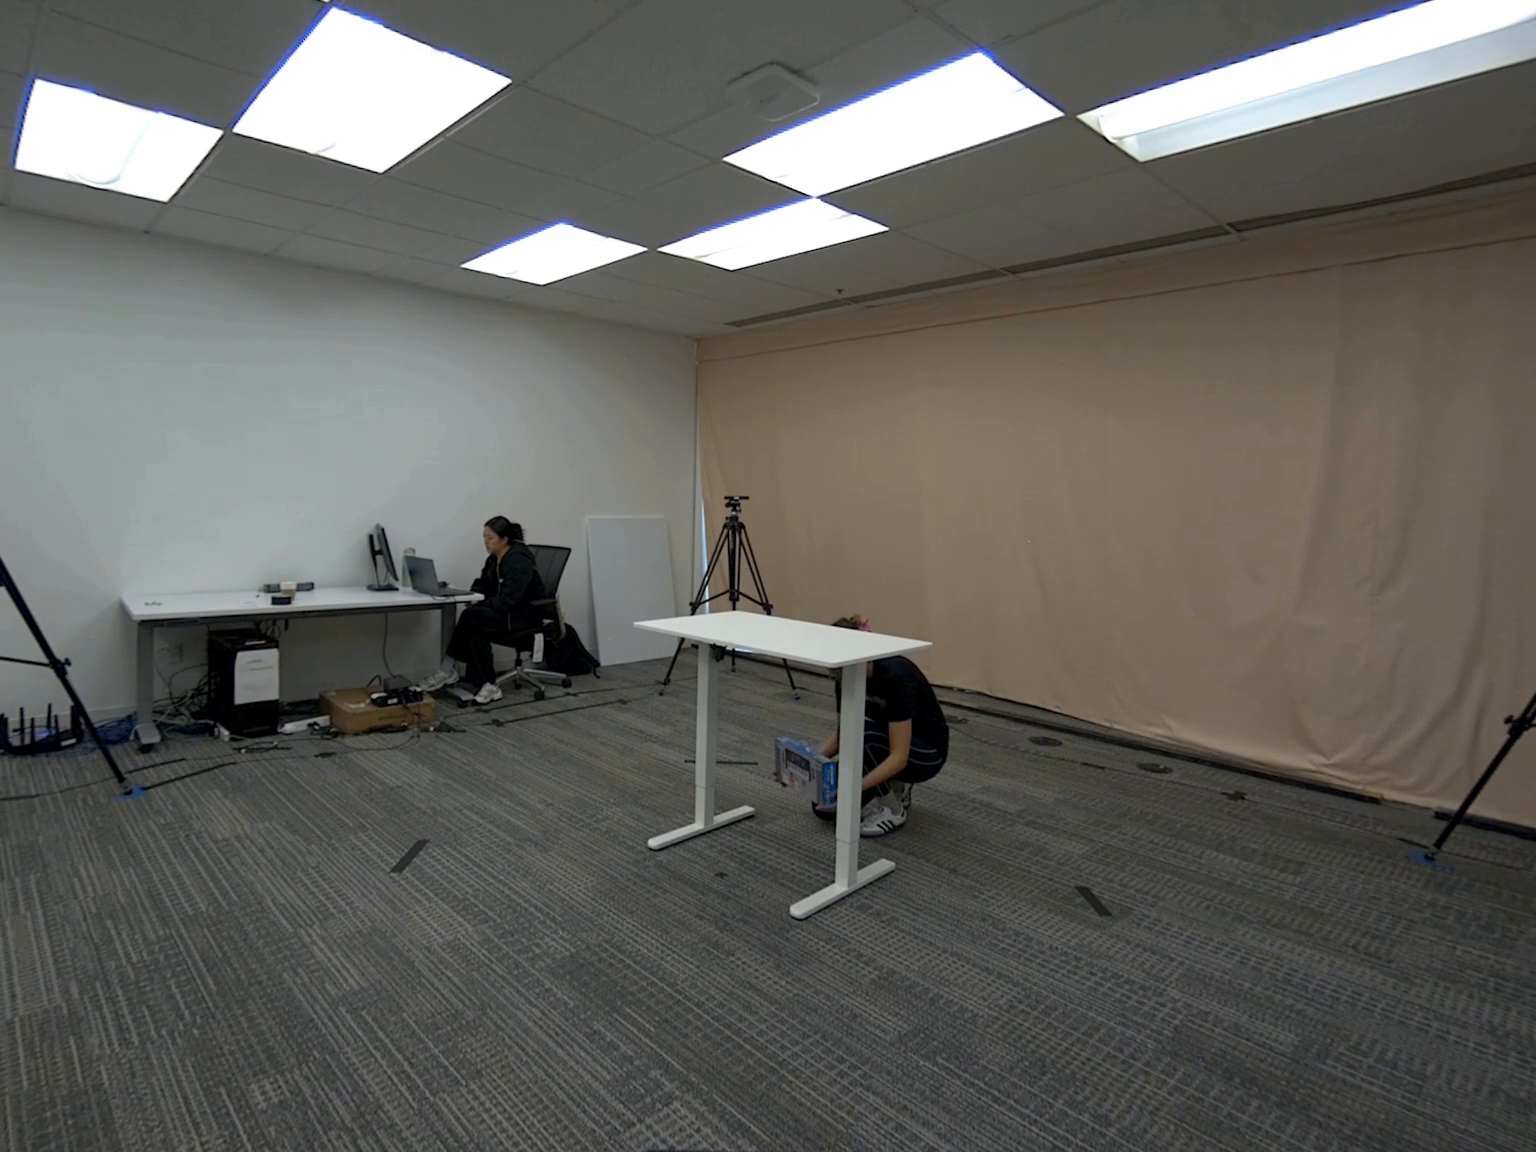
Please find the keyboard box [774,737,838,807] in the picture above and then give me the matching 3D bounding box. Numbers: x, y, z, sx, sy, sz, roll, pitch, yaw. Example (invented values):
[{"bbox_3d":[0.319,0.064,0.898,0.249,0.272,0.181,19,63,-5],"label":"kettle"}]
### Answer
[{"bbox_3d":[0.136,0.782,3.401,0.058,0.176,0.444,-3,3,-23],"label":"keyboard box"}]
